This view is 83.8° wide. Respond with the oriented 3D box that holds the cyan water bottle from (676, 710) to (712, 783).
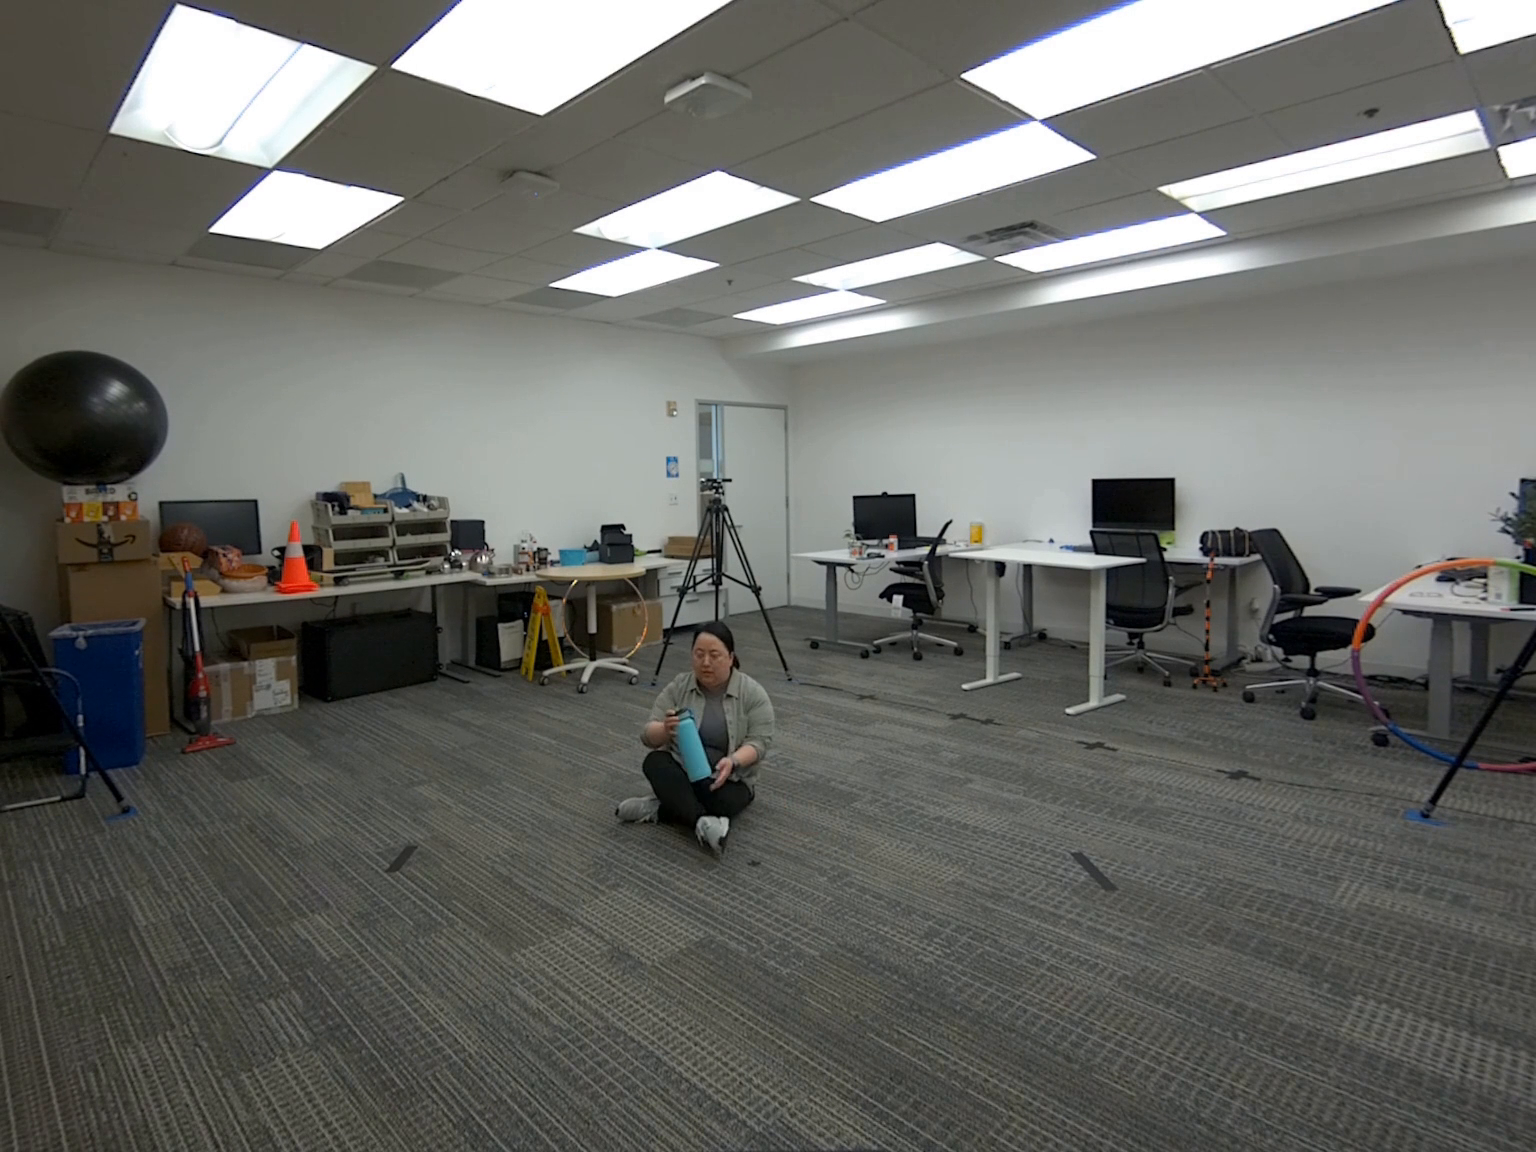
[{"bbox_3d":[-0.310,0.654,3.298,0.092,0.286,0.092,-16,-7,-3],"label":"cyan water bottle"}]
